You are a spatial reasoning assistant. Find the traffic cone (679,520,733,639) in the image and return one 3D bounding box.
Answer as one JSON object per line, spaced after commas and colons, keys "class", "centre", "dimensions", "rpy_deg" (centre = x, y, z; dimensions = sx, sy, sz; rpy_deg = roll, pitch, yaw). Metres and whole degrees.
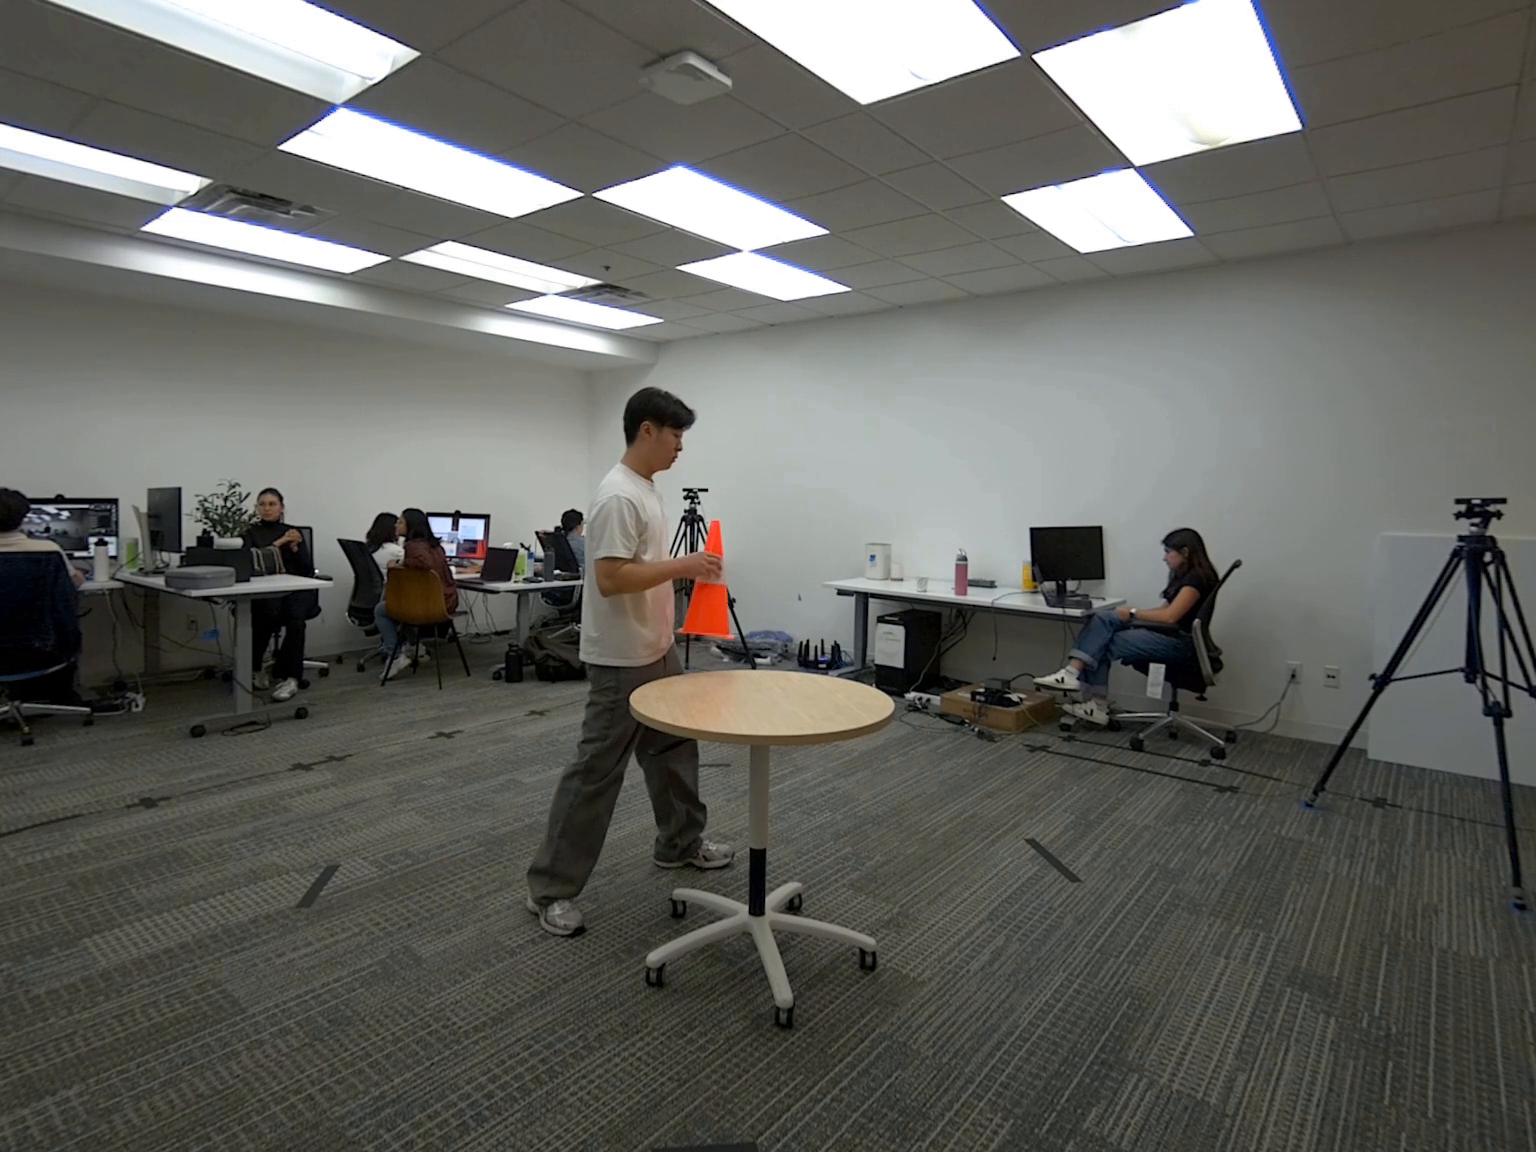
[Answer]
{"class": "traffic cone", "centre": [-0.191, -0.004, 2.832], "dimensions": [0.204, 0.383, 0.204], "rpy_deg": [3, 1, 4]}
